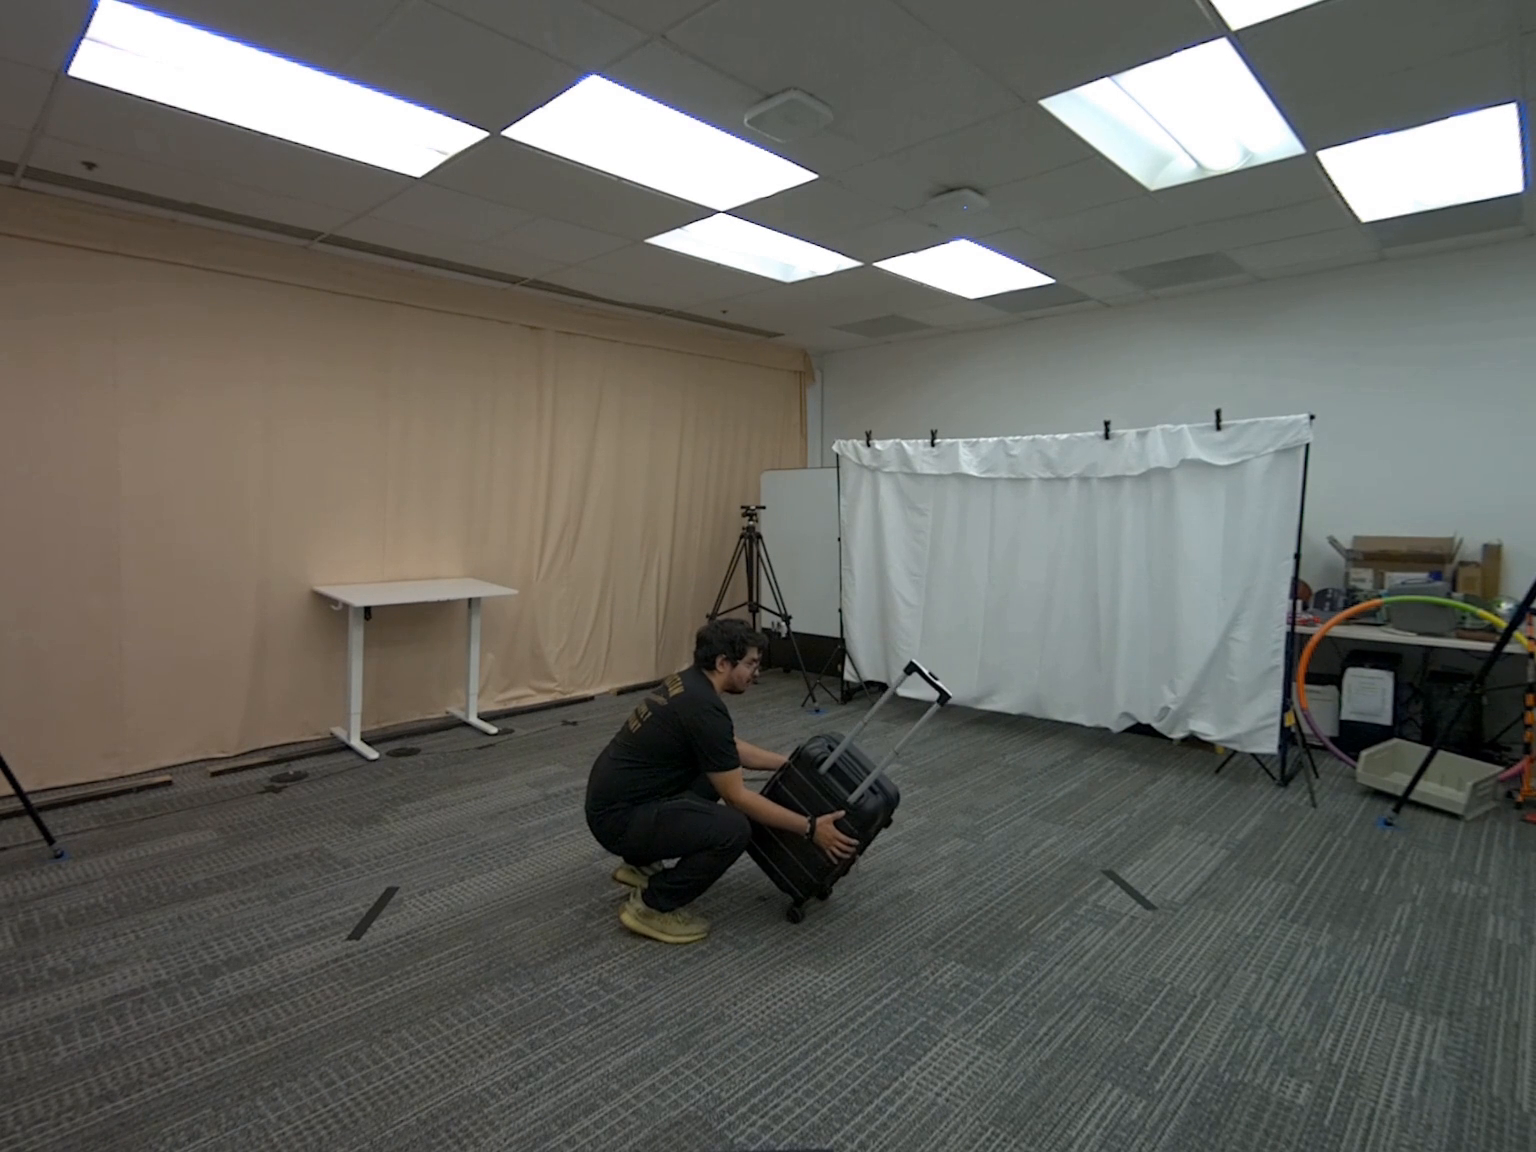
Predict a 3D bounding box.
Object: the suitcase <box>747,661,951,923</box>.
[{"bbox_3d":[0.280,0.677,2.794,0.394,0.980,0.250,44,23,22],"label":"suitcase"}]
